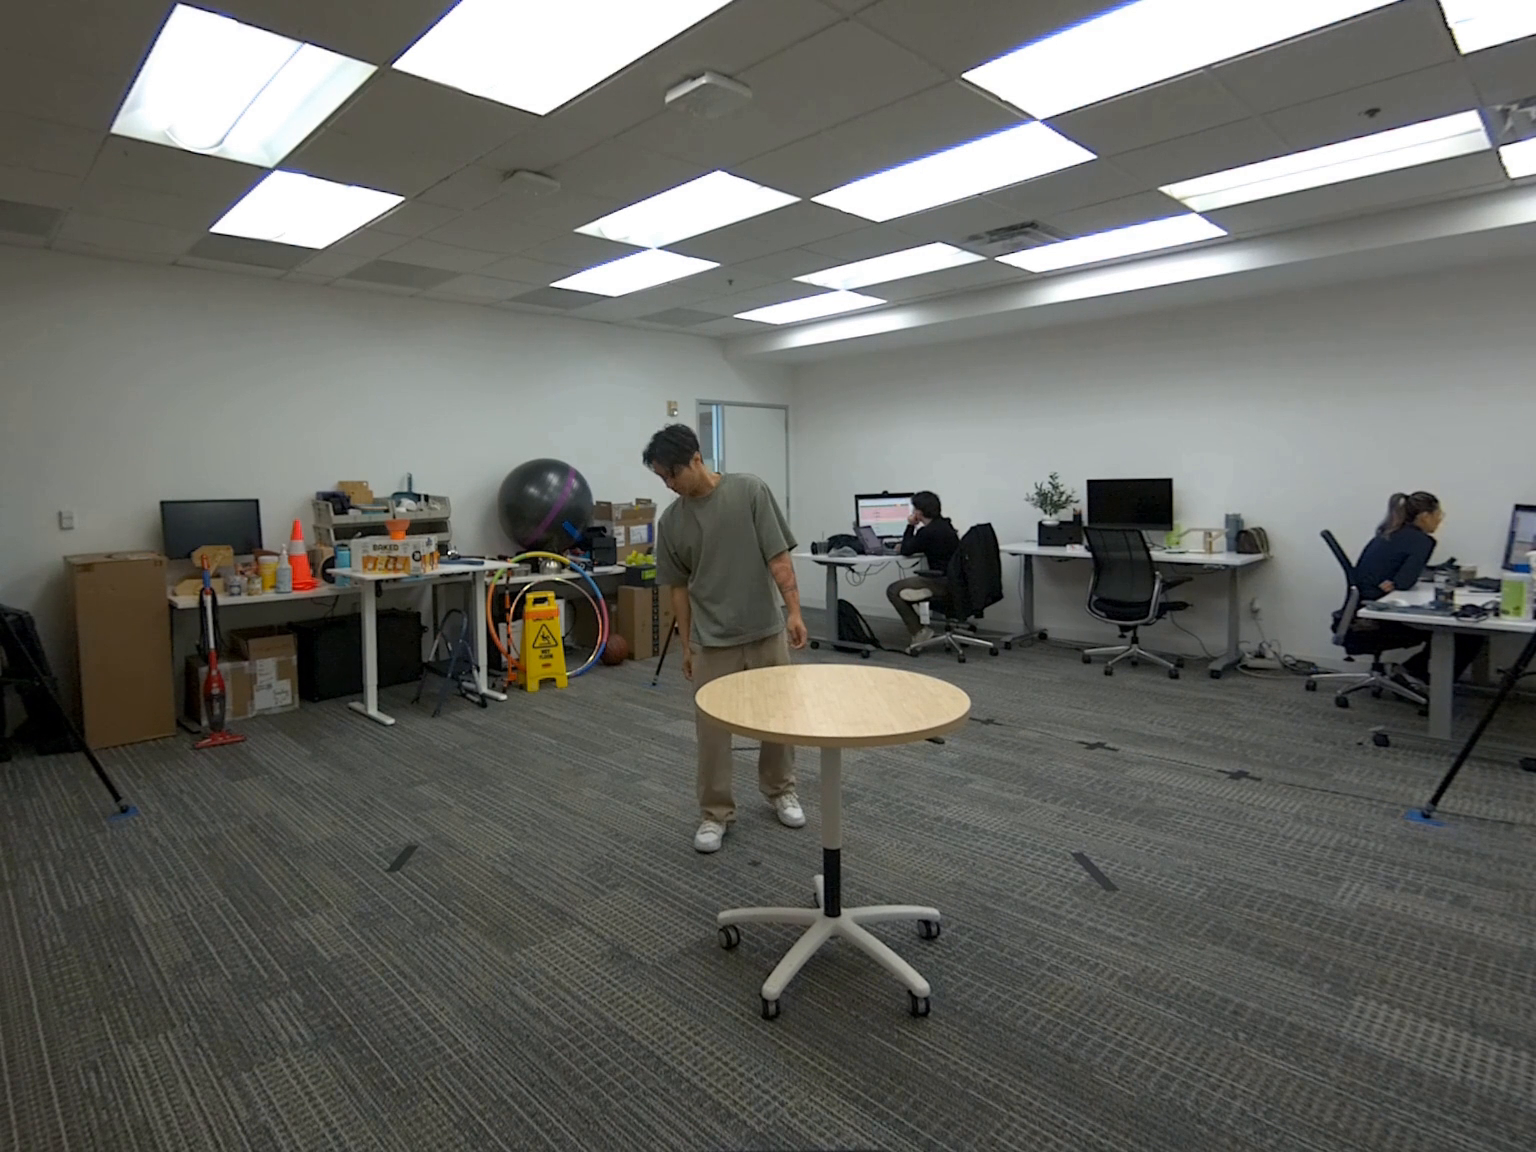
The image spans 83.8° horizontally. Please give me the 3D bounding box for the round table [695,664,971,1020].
[{"bbox_3d":[0.176,0.728,2.441,0.784,0.783,0.789,-1,5,-2],"label":"round table"}]
